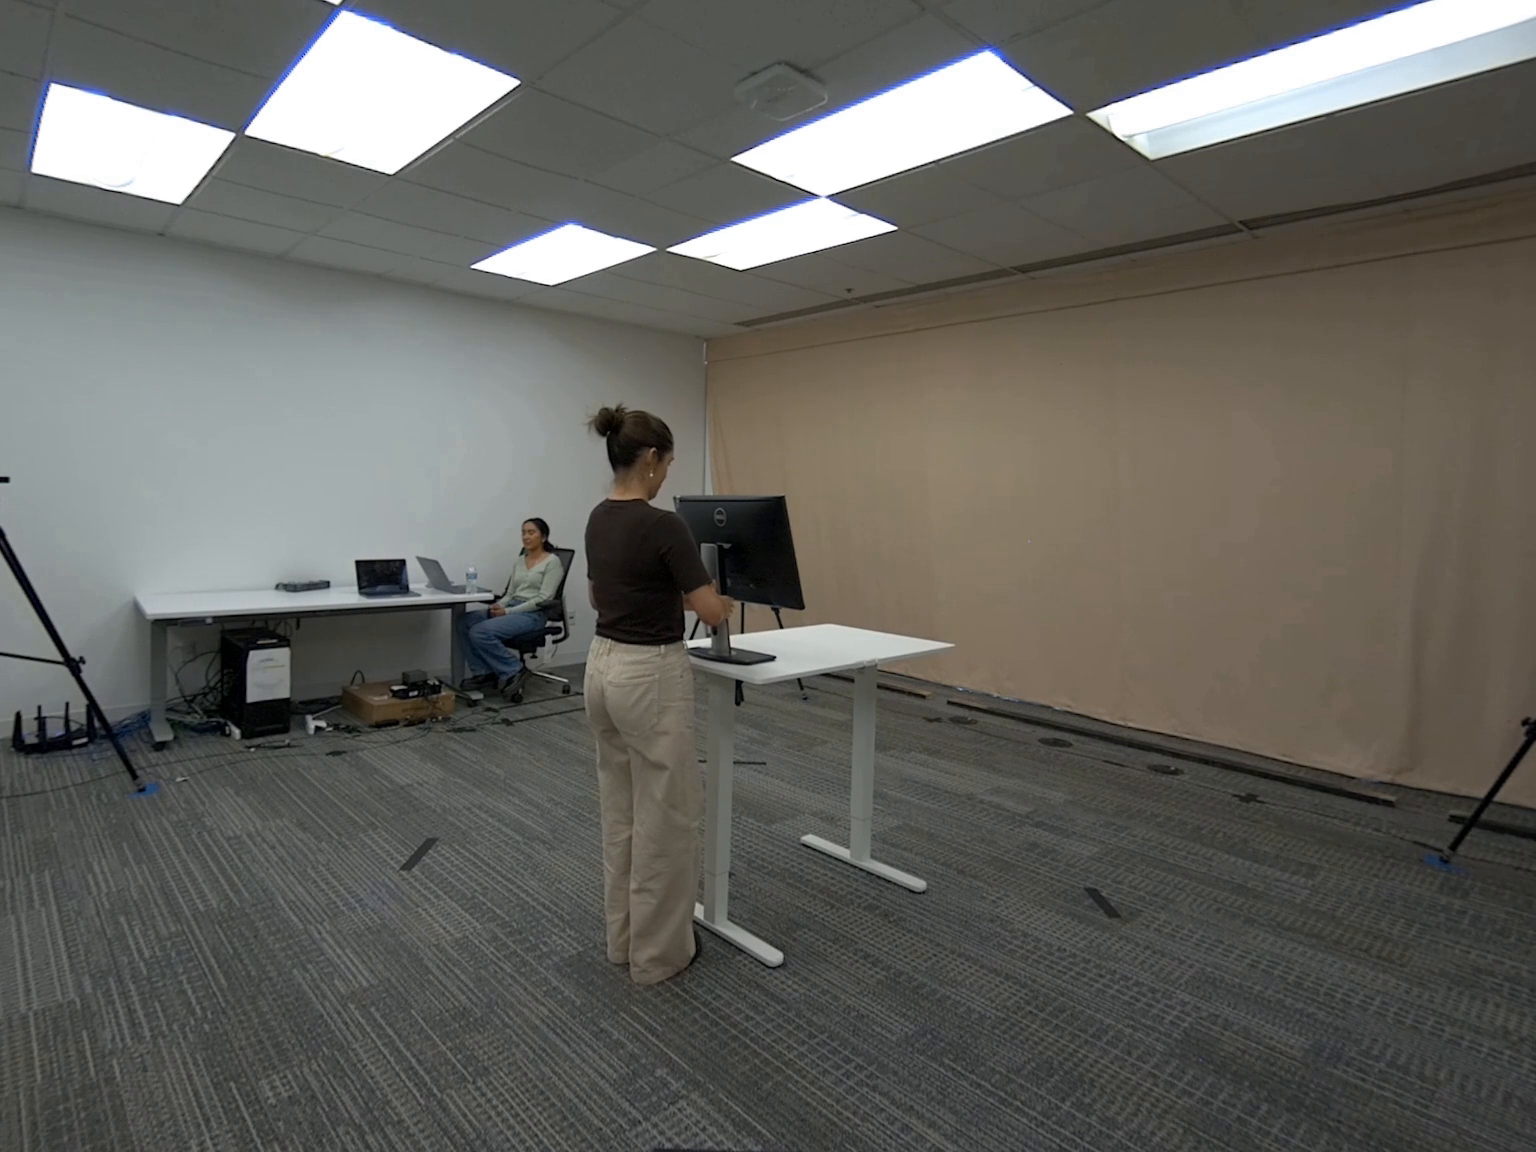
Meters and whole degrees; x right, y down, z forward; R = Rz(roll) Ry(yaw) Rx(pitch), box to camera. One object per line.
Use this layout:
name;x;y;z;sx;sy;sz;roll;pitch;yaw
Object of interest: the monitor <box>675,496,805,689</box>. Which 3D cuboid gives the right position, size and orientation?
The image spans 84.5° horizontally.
monitor;-0.128;0.010;2.647;0.183;0.521;0.553;-4;6;-43
